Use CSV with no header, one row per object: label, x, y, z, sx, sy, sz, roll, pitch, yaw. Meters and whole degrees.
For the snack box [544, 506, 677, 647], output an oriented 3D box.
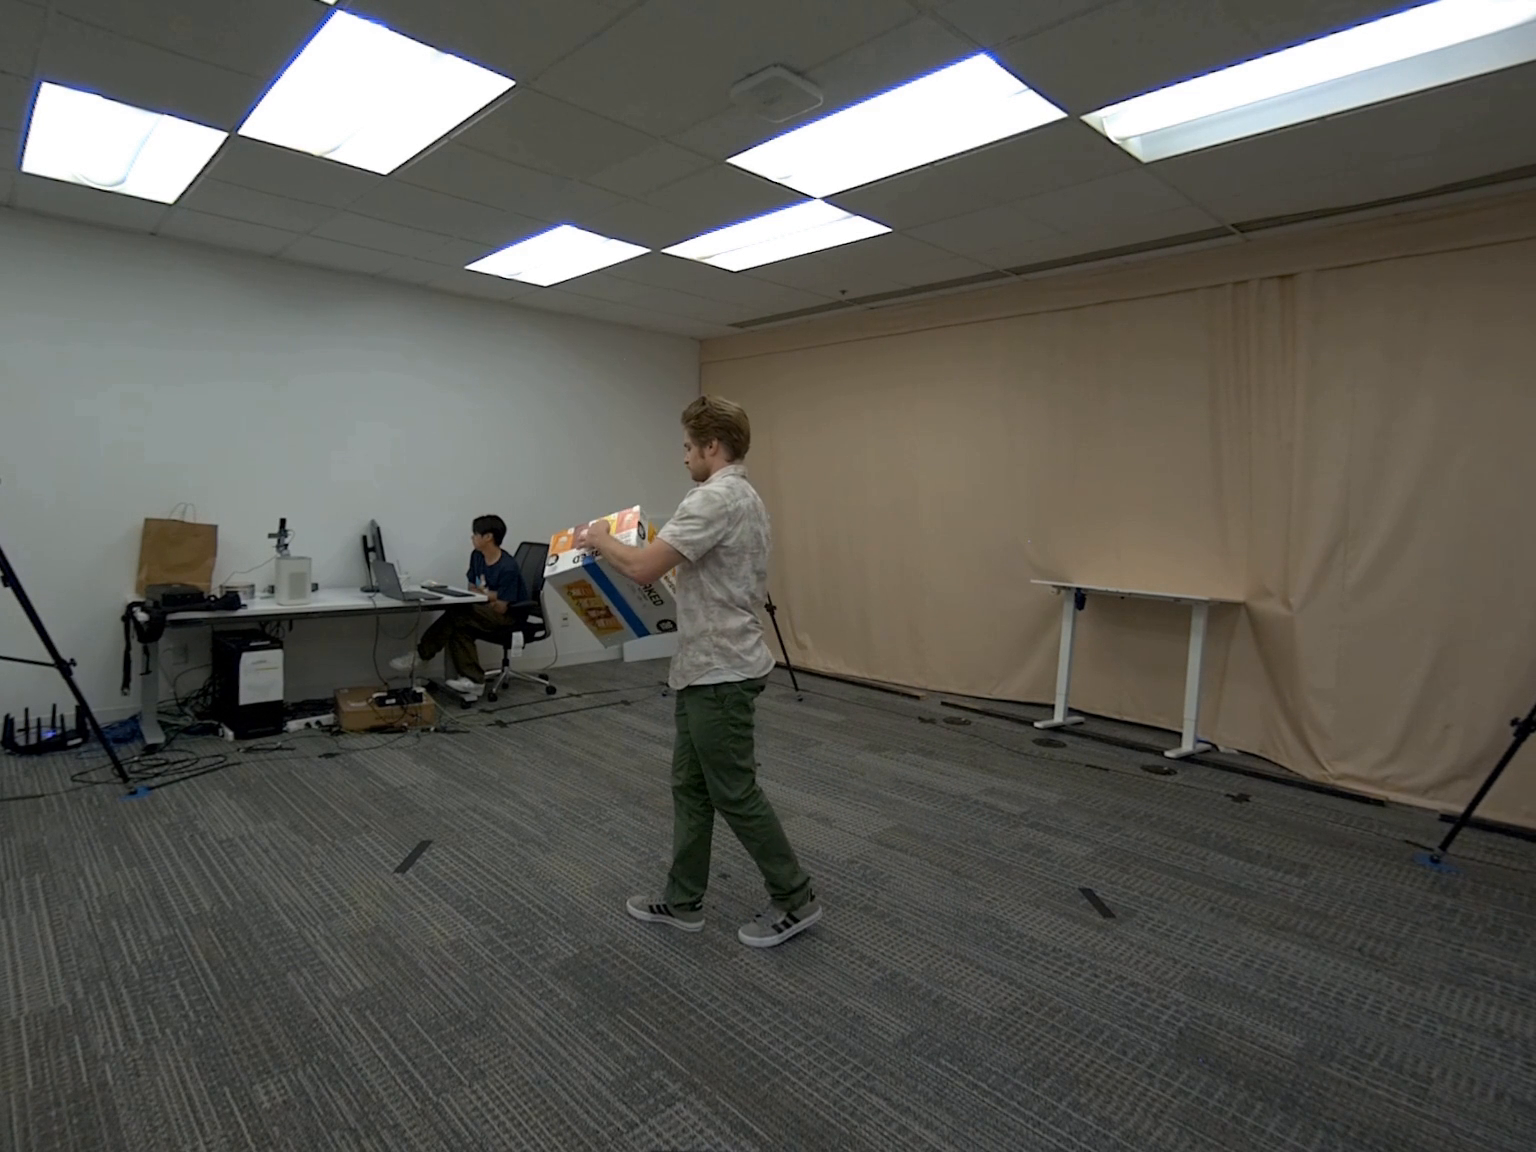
snack box,-0.500,0.013,2.885,0.343,0.393,0.210,-17,43,16
